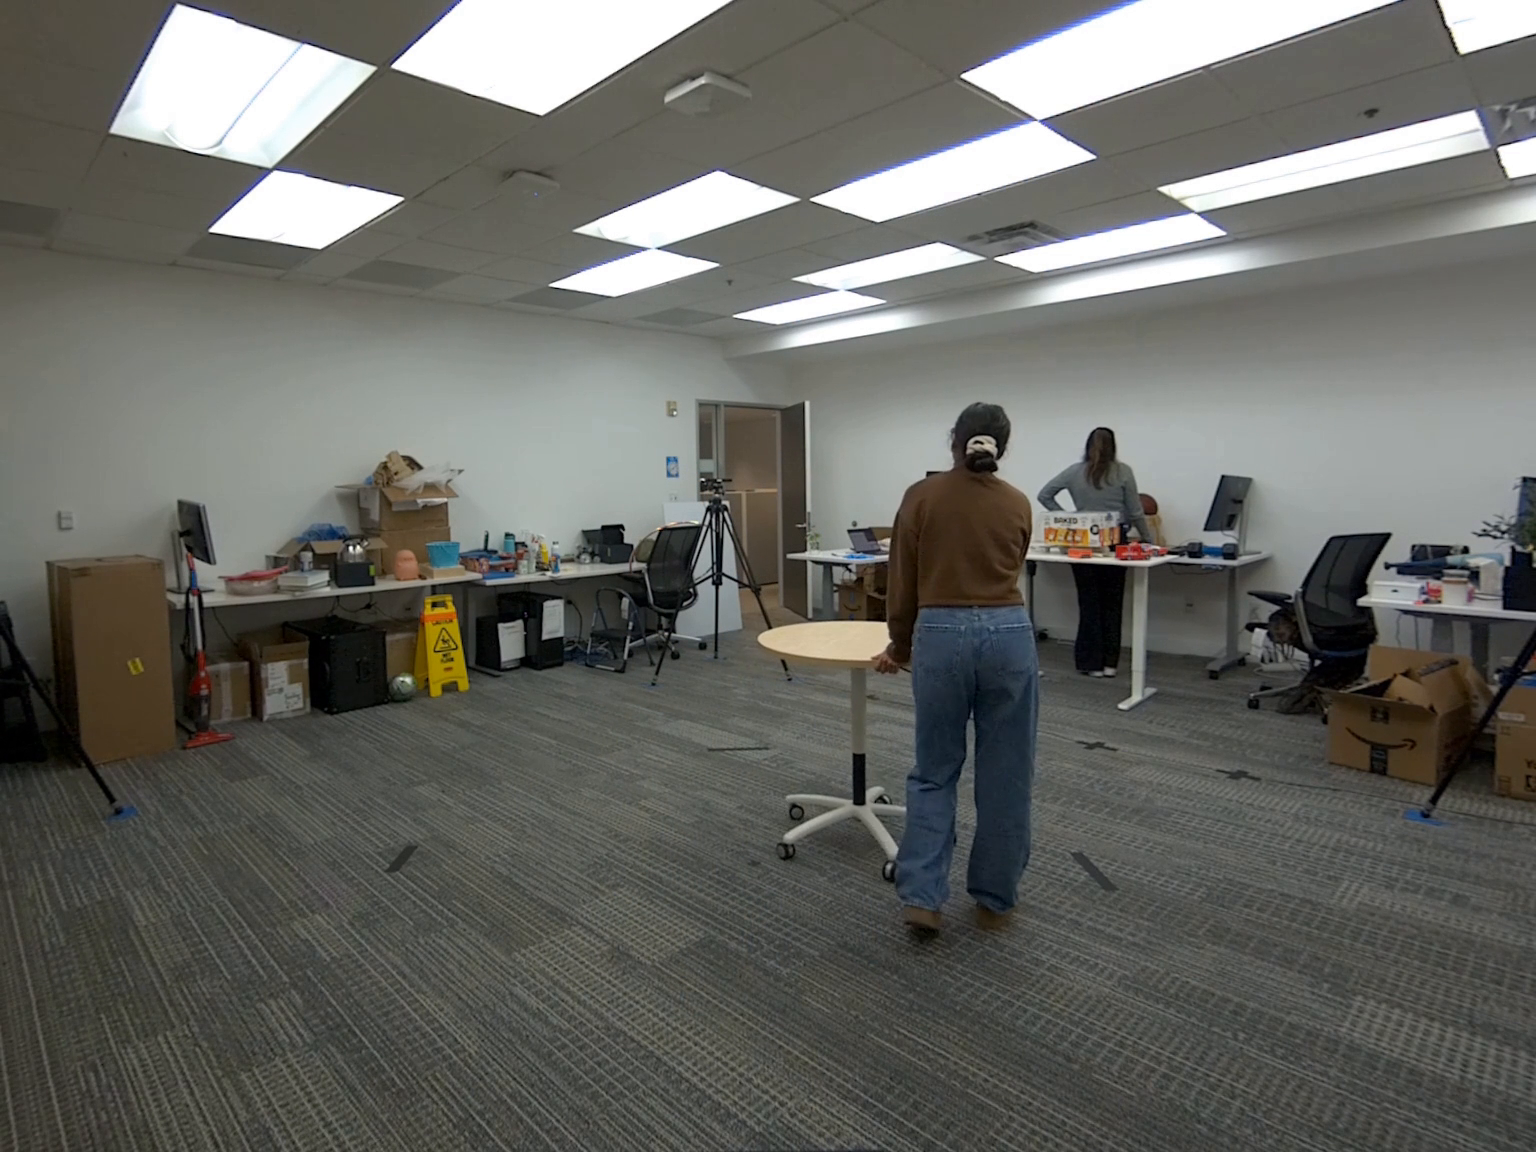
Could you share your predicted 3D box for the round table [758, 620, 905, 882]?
[{"bbox_3d":[0.362,0.627,3.264,0.784,0.783,0.789,-1,5,-2],"label":"round table"}]
